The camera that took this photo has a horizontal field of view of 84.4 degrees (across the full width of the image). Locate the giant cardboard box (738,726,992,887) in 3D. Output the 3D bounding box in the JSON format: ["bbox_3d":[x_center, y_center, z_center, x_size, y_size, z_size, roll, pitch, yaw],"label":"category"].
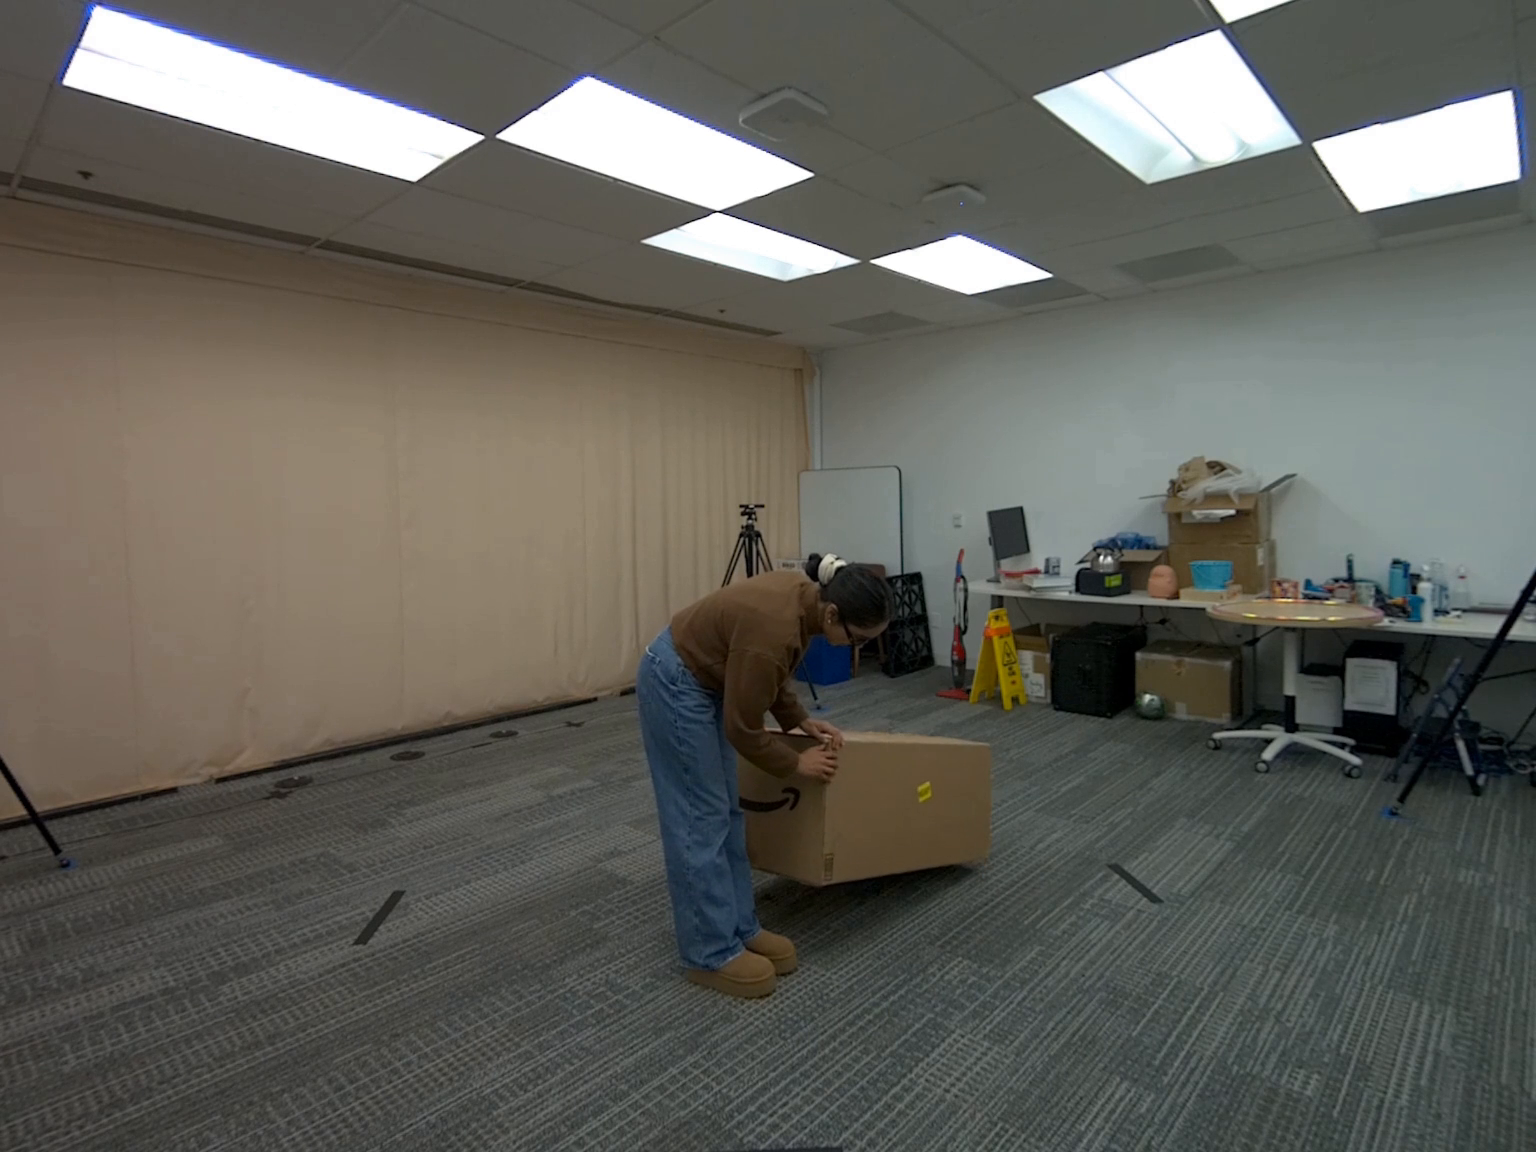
[{"bbox_3d":[0.303,0.792,3.053,0.601,0.449,0.991,-5,-13,43],"label":"giant cardboard box"}]
